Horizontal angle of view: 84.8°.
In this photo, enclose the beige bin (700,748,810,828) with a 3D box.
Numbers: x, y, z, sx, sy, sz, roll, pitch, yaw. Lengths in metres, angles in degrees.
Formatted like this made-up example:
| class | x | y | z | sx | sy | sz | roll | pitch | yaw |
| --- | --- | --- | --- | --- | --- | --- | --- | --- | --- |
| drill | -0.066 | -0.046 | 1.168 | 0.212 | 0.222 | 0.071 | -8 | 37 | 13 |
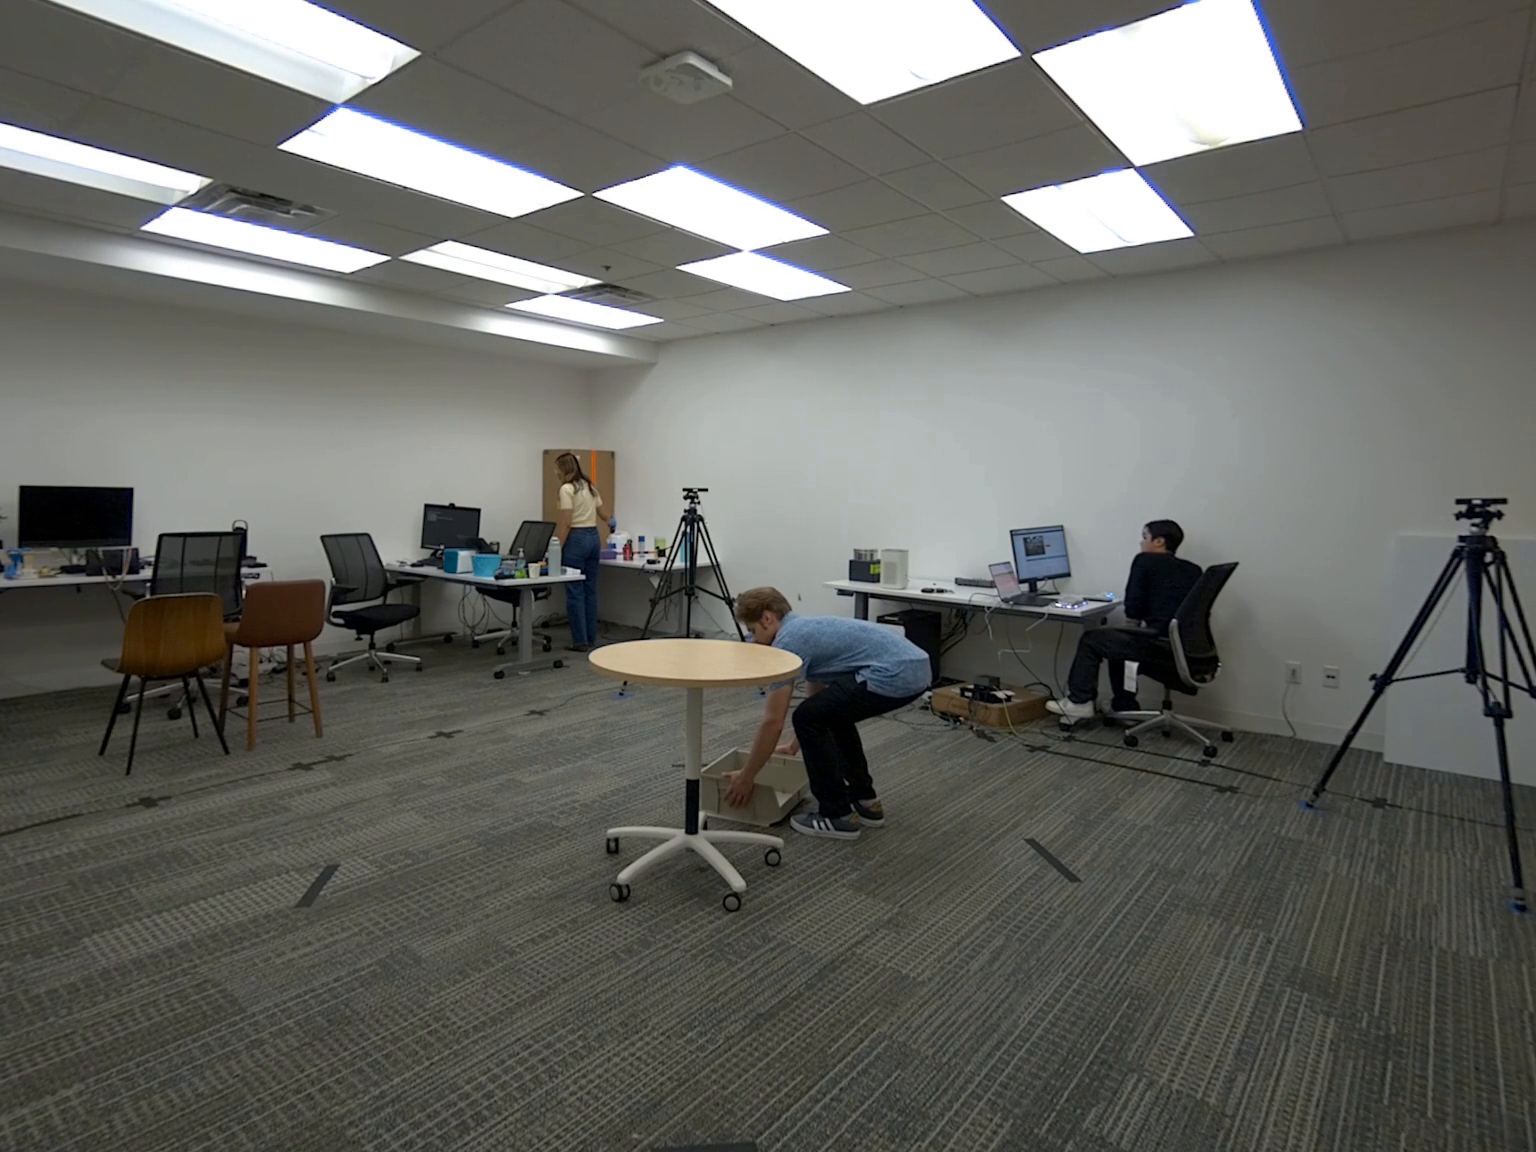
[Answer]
| class | x | y | z | sx | sy | sz | roll | pitch | yaw |
| --- | --- | --- | --- | --- | --- | --- | --- | --- | --- |
| beige bin | -0.065 | 0.922 | 3.753 | 0.386 | 0.188 | 0.414 | 2 | 5 | 23 |
